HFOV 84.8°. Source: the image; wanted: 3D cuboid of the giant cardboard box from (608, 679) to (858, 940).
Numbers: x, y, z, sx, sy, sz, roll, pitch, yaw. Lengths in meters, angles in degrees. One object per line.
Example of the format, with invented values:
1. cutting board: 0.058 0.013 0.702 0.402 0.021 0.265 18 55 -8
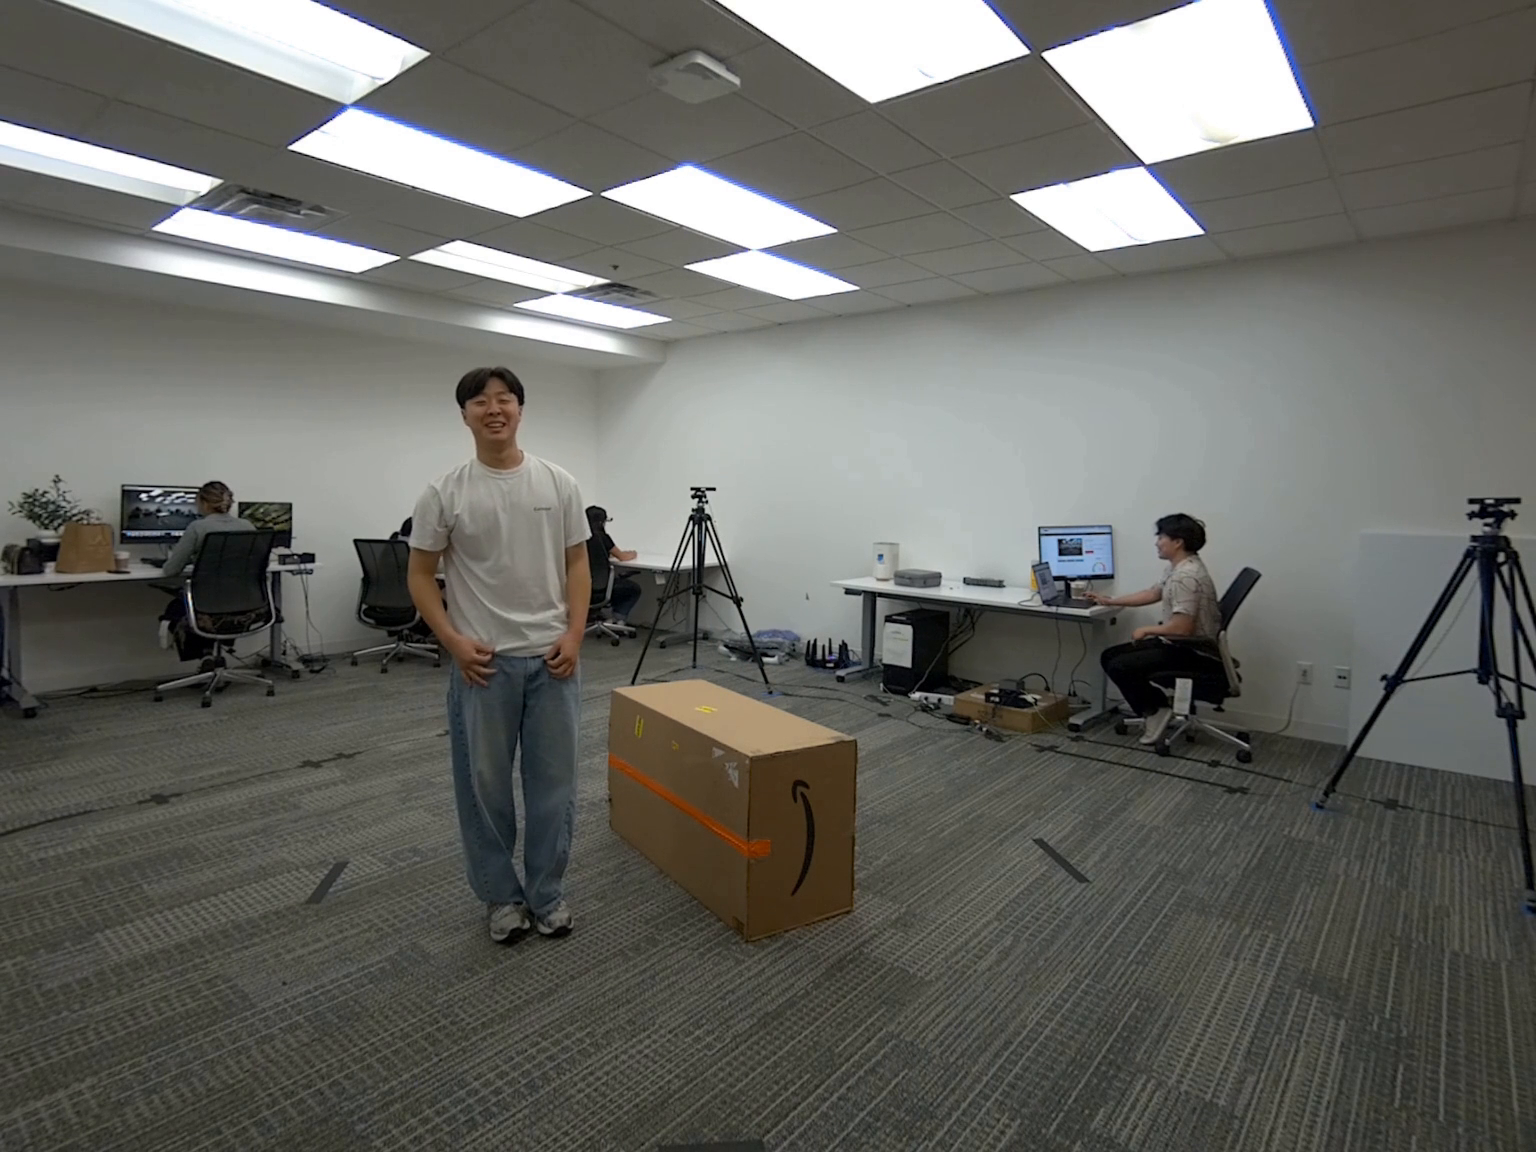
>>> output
1. giant cardboard box: -0.188 0.777 3.124 0.414 0.576 1.059 -1 5 -34
